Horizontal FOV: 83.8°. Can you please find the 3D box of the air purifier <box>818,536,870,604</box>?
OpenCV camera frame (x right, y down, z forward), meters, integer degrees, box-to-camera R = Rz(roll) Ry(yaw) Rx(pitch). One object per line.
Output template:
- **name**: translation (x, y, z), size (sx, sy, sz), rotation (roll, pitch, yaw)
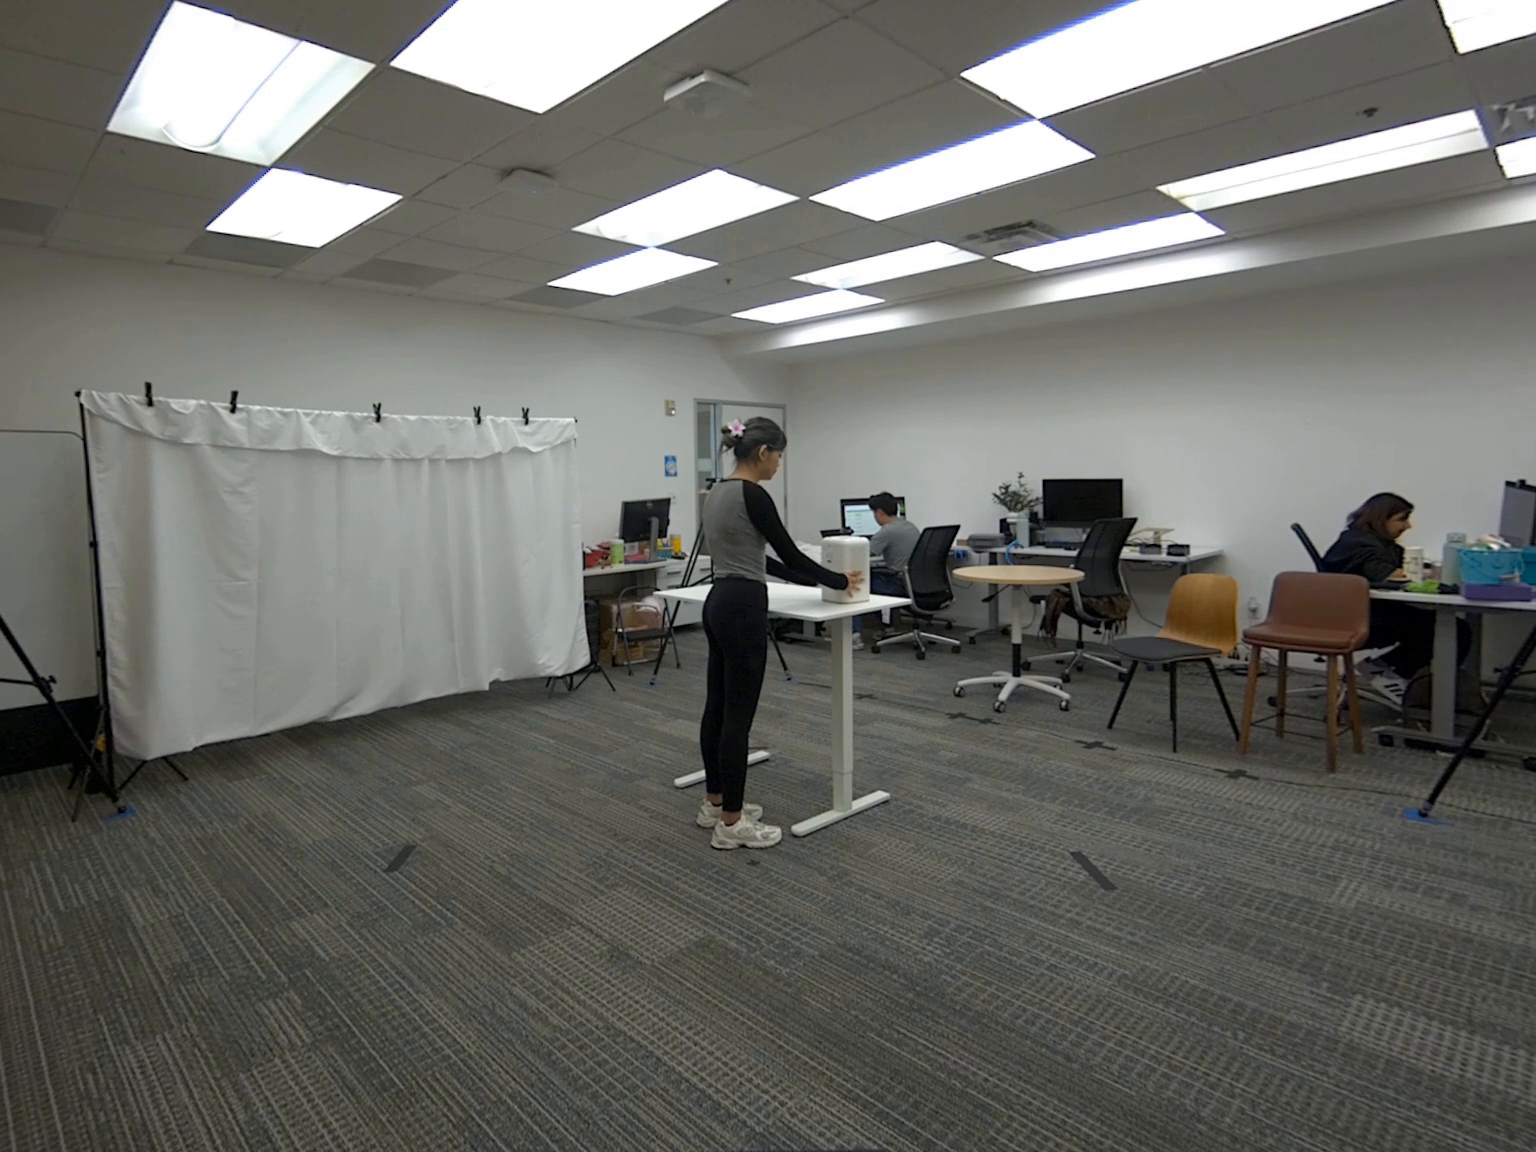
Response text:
- **air purifier**: translation (0.321, -0.031, 3.563), size (0.167, 0.264, 0.176), rotation (-4, 7, -33)
